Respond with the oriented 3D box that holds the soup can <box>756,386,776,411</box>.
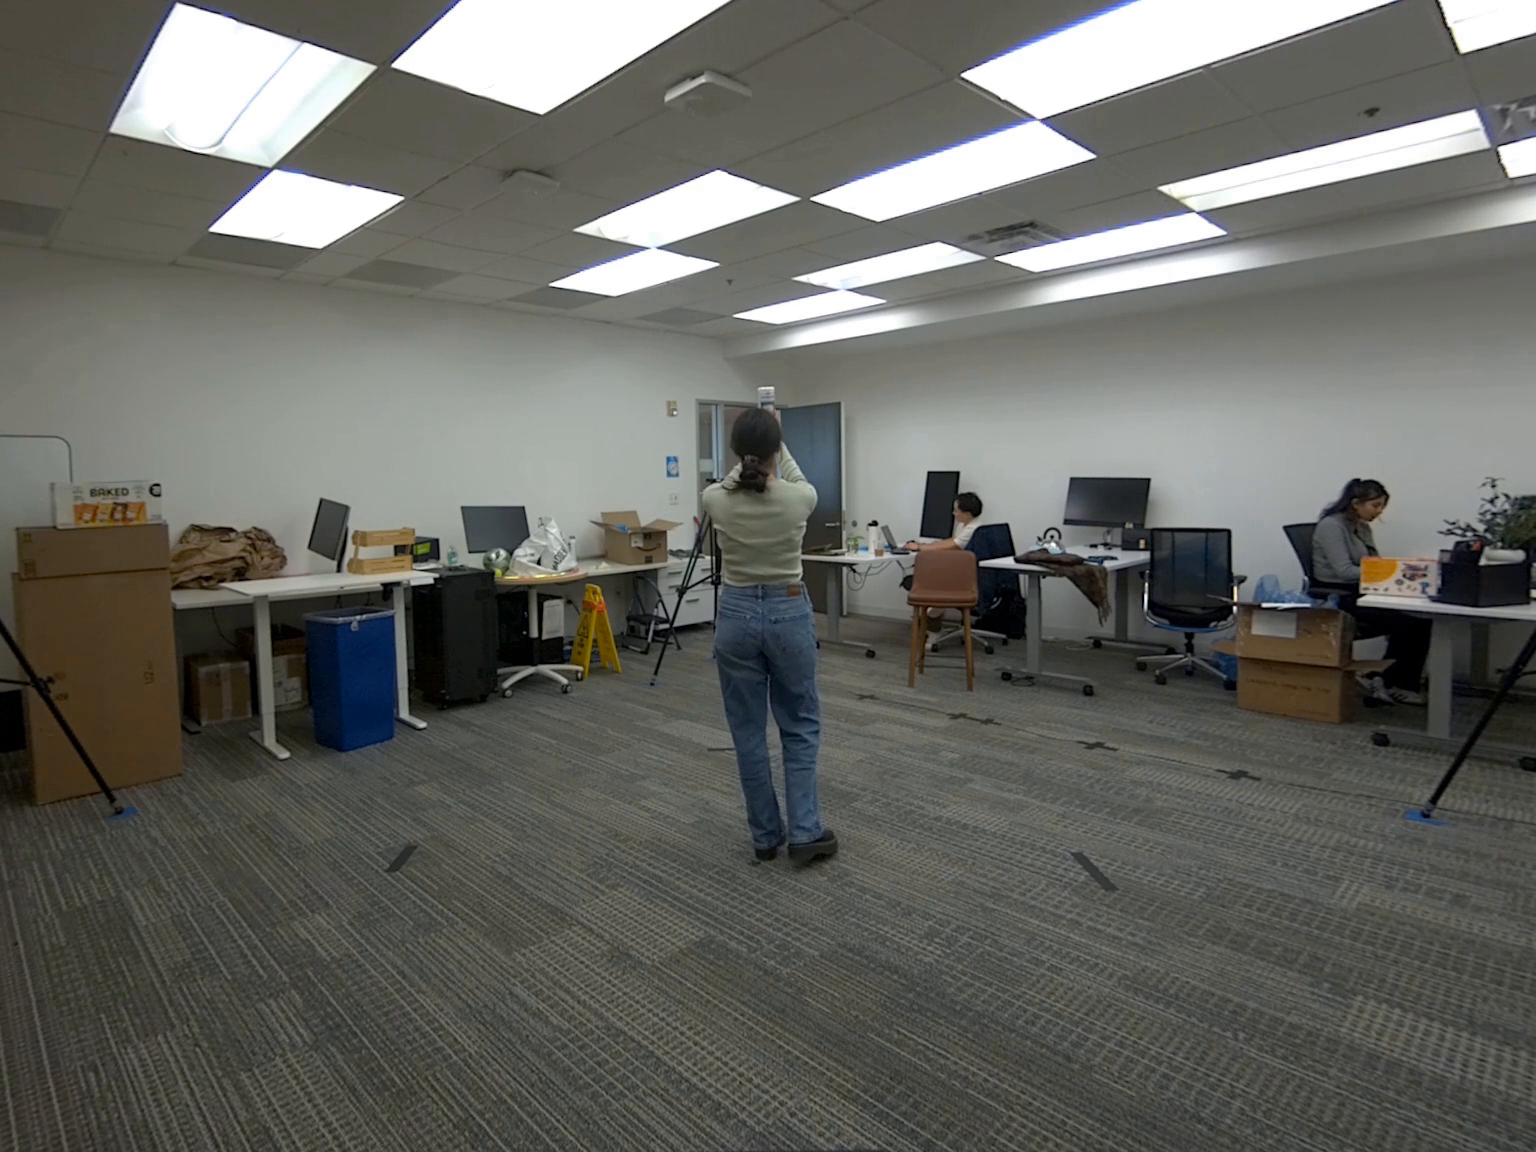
[{"bbox_3d":[-0.007,-0.698,3.433,0.067,0.120,0.068,-3,13,-1],"label":"soup can"}]
